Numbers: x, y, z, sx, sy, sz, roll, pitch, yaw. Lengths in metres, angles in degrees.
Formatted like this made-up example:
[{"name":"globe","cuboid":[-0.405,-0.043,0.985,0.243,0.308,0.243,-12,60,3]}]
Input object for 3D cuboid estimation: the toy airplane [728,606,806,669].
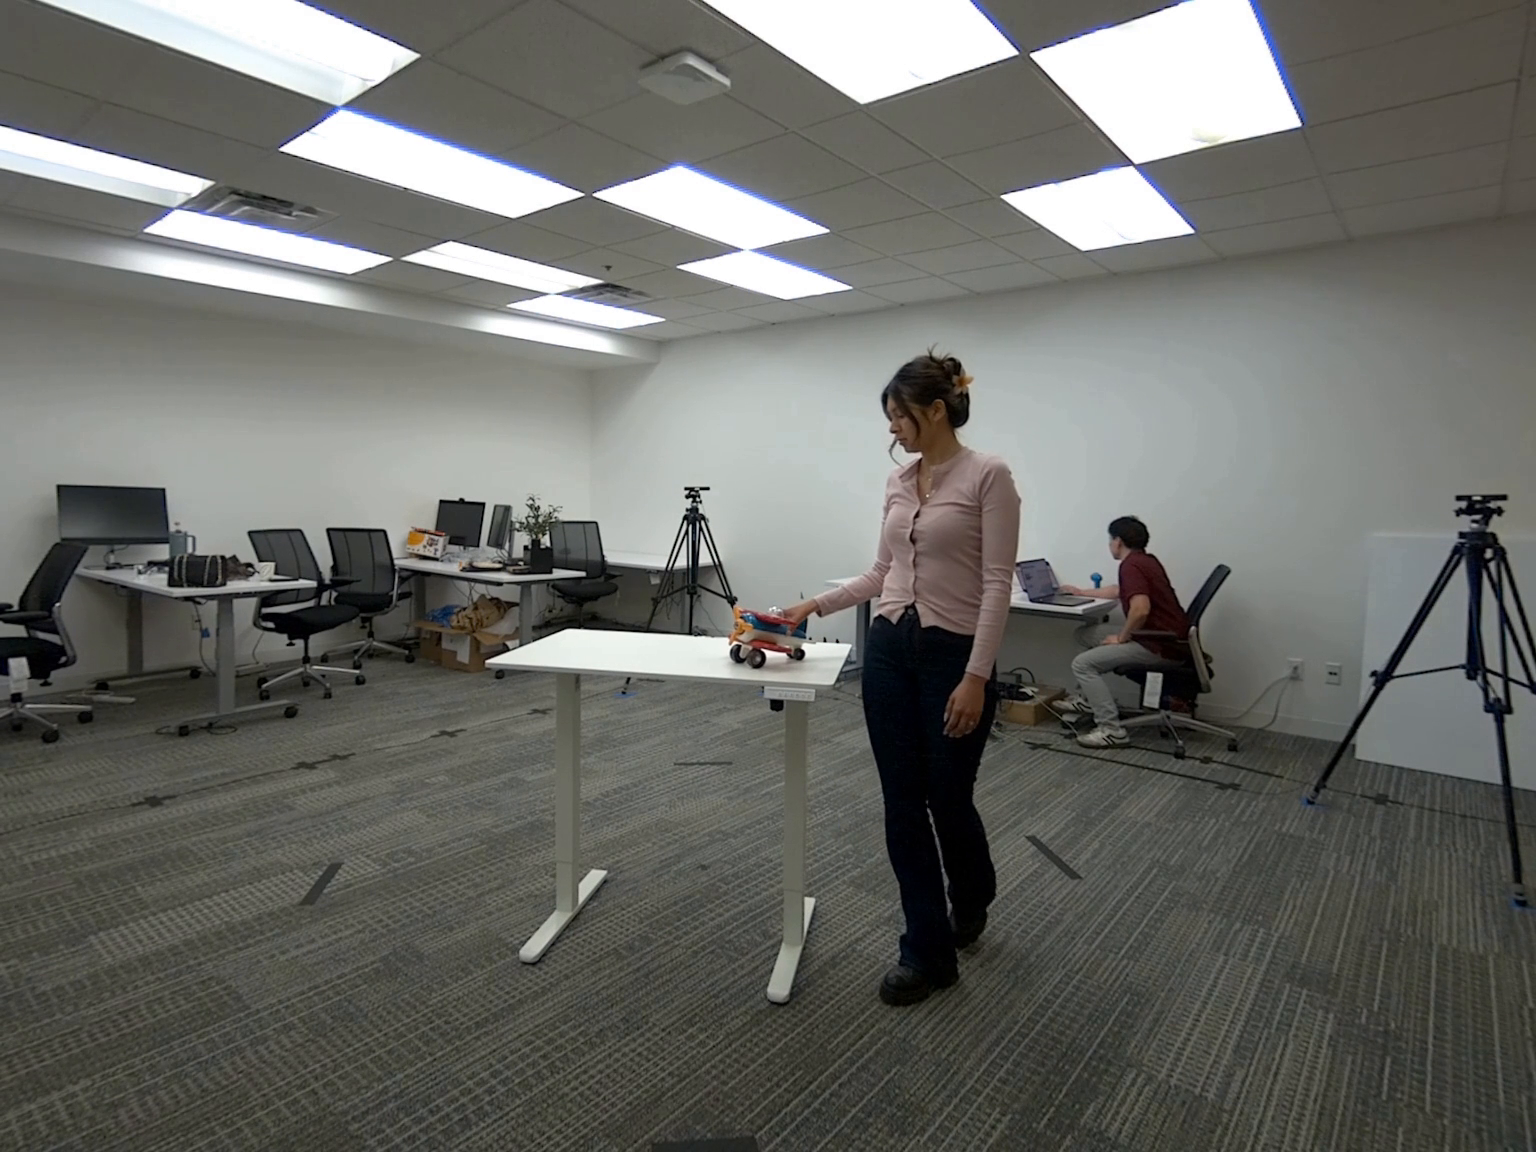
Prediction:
[{"name":"toy airplane","cuboid":[-0.010,0.171,2.497,0.258,0.156,0.253,3,5,27]}]
